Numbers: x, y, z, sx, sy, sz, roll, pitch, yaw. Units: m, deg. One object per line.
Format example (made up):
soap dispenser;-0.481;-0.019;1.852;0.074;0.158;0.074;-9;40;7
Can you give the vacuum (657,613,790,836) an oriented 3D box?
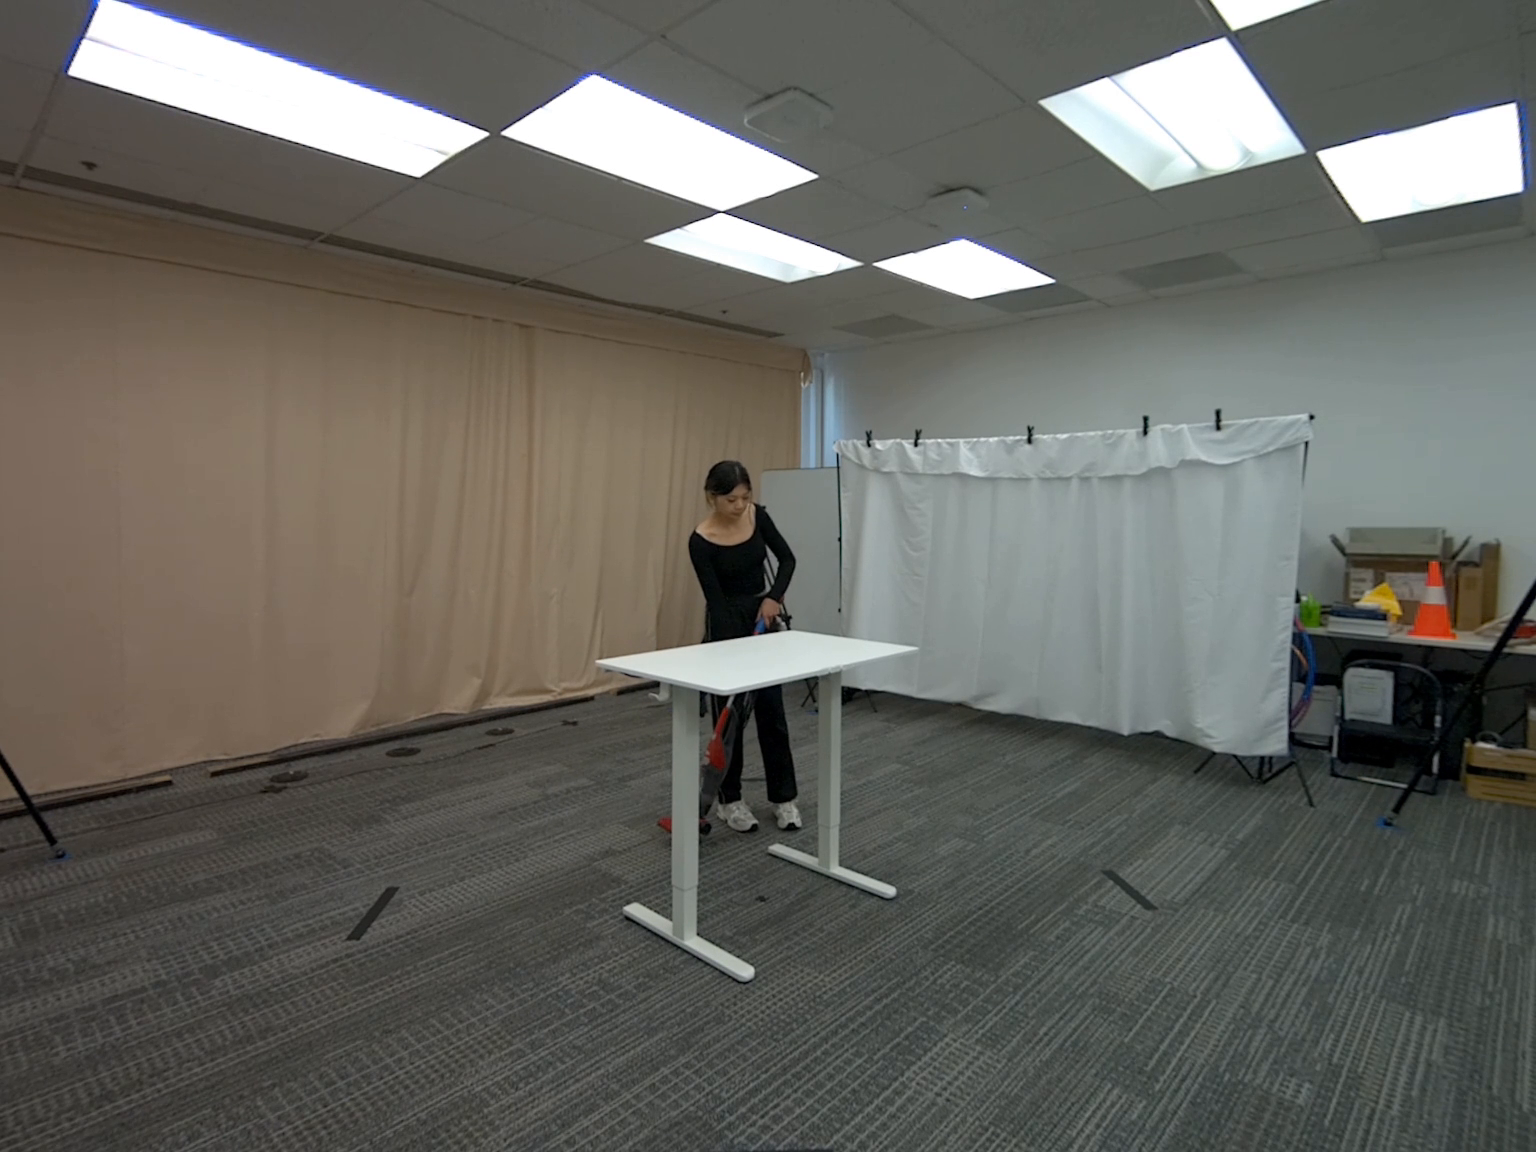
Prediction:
vacuum;-0.140;0.568;3.533;0.261;1.051;0.139;12;-12;47
